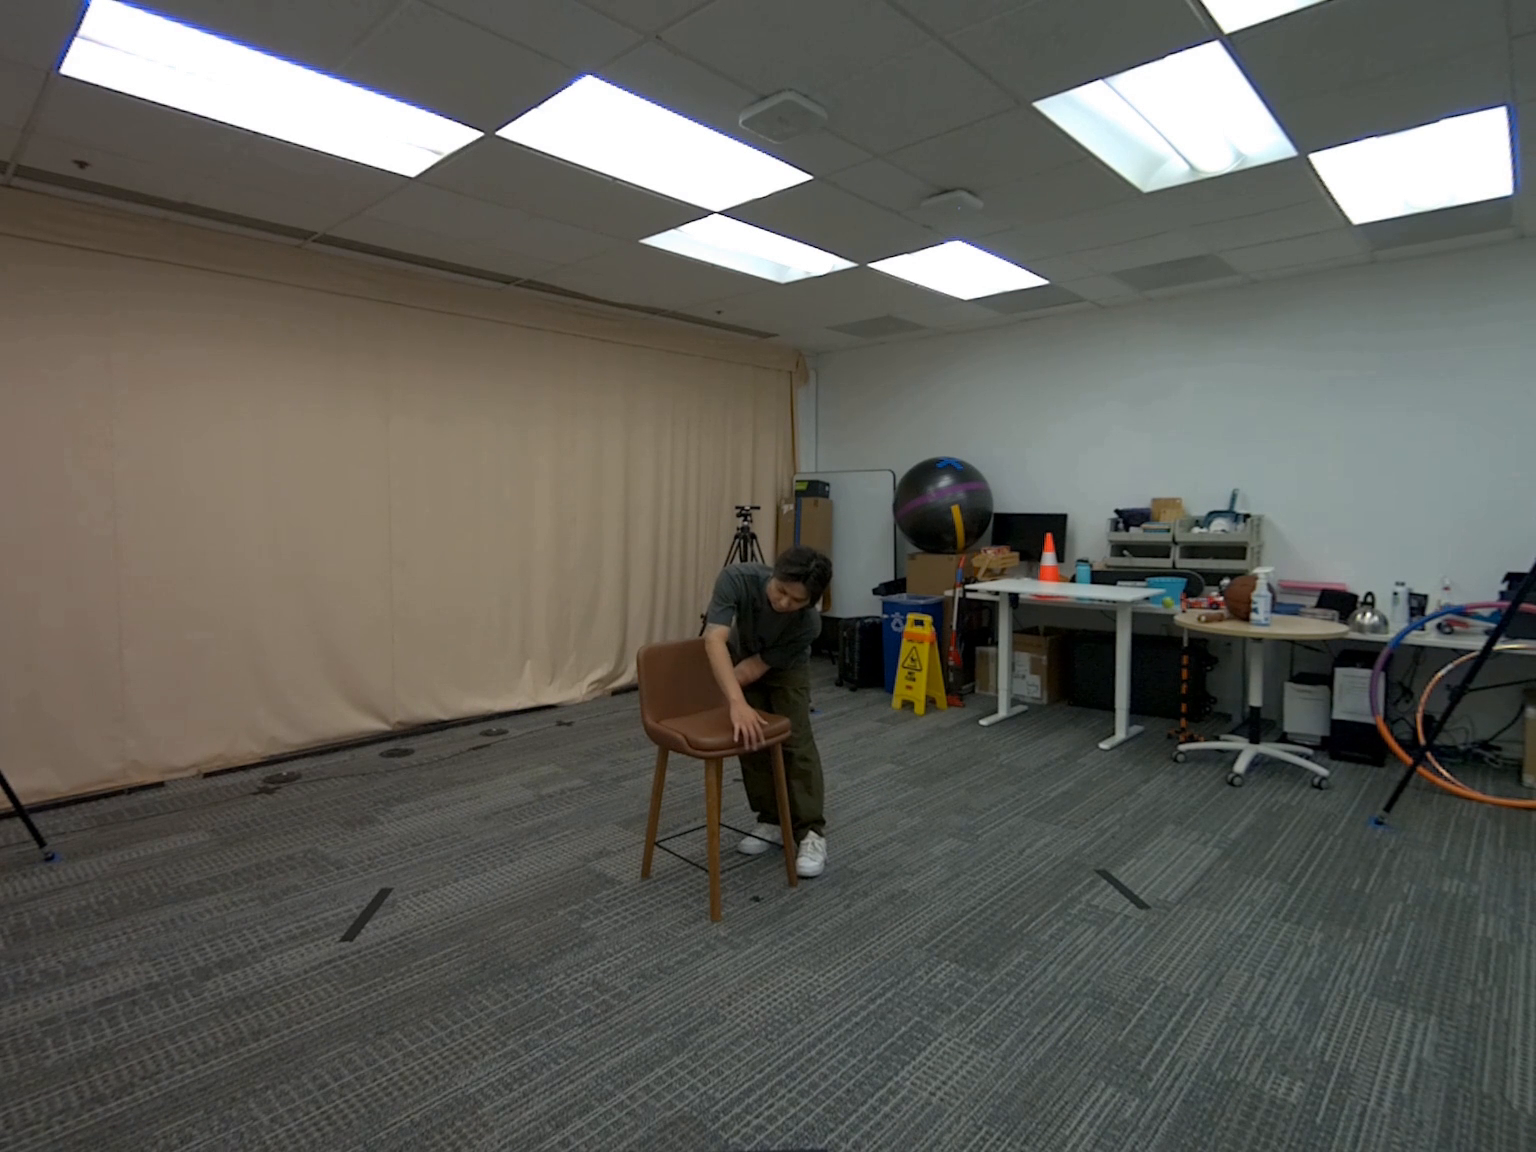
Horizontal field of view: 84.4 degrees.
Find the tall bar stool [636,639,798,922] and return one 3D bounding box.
[{"bbox_3d":[-0.201,0.701,3.085,0.442,0.888,0.483,-3,3,-43],"label":"tall bar stool"}]
